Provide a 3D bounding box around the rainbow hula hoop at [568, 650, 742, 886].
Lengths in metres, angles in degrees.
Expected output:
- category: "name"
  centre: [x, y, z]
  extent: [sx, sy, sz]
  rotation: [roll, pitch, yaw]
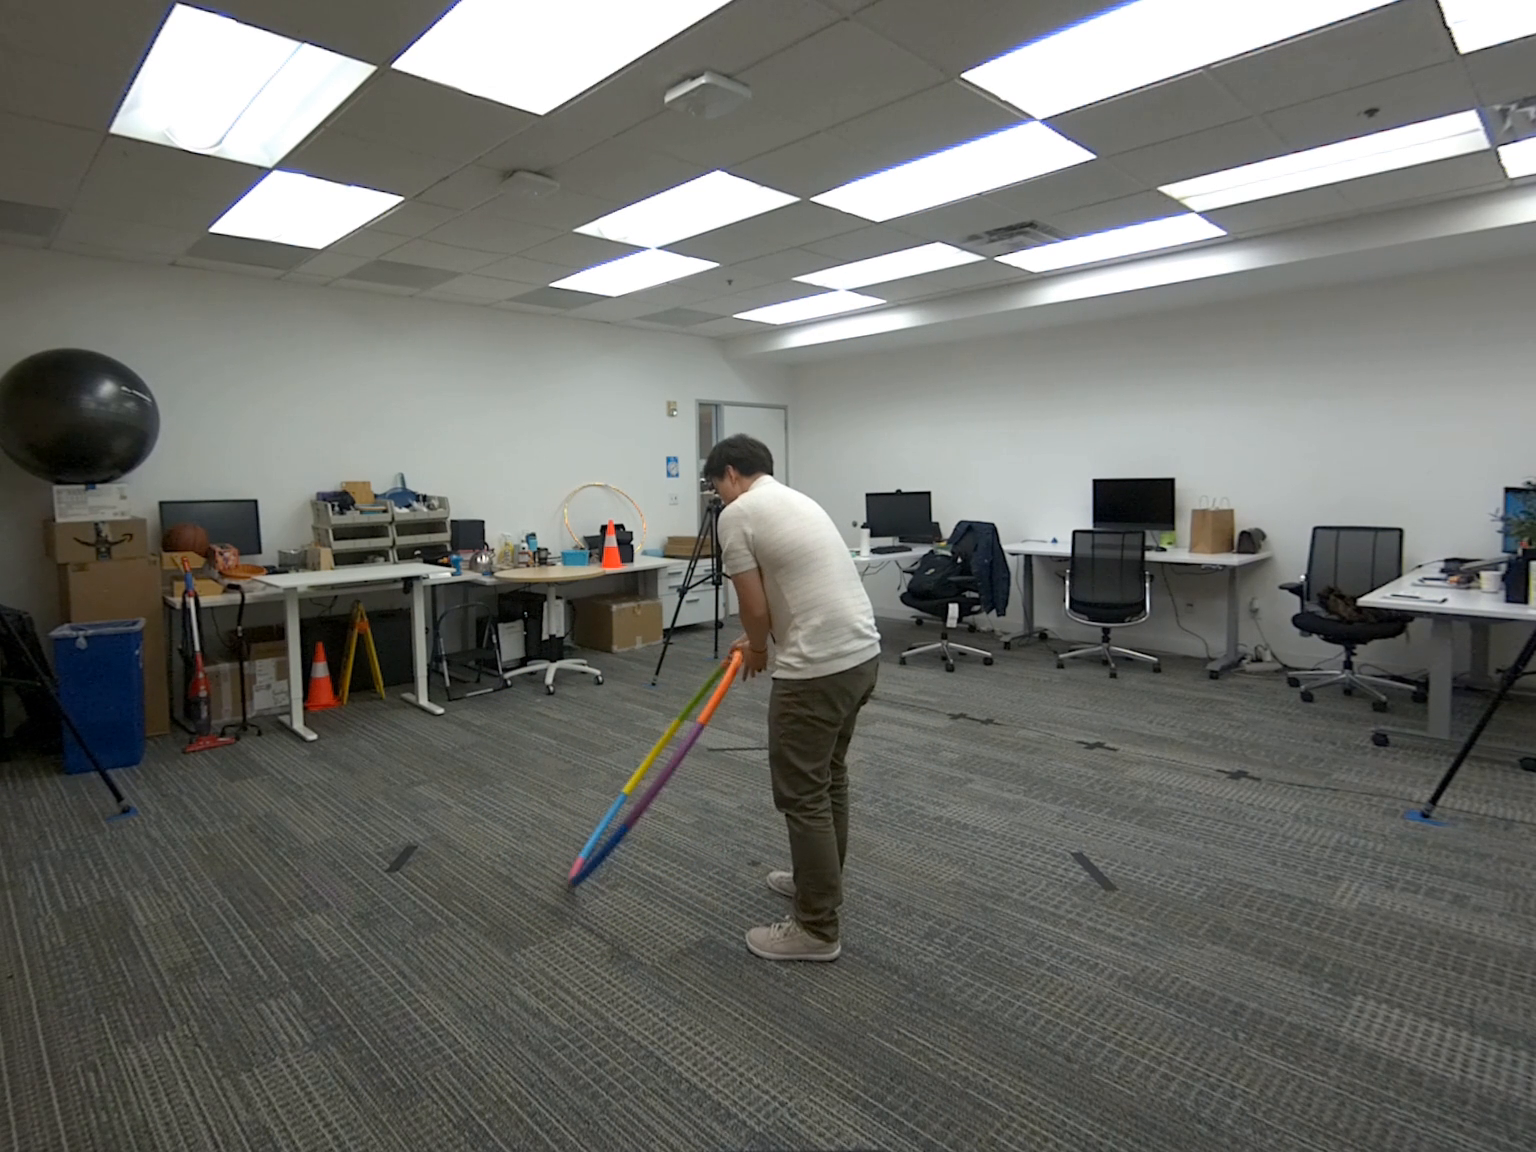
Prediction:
- category: "rainbow hula hoop"
  centre: [-0.398, 0.657, 3.036]
  extent: [0.035, 0.978, 0.980]
  rotation: [38, 5, -3]
